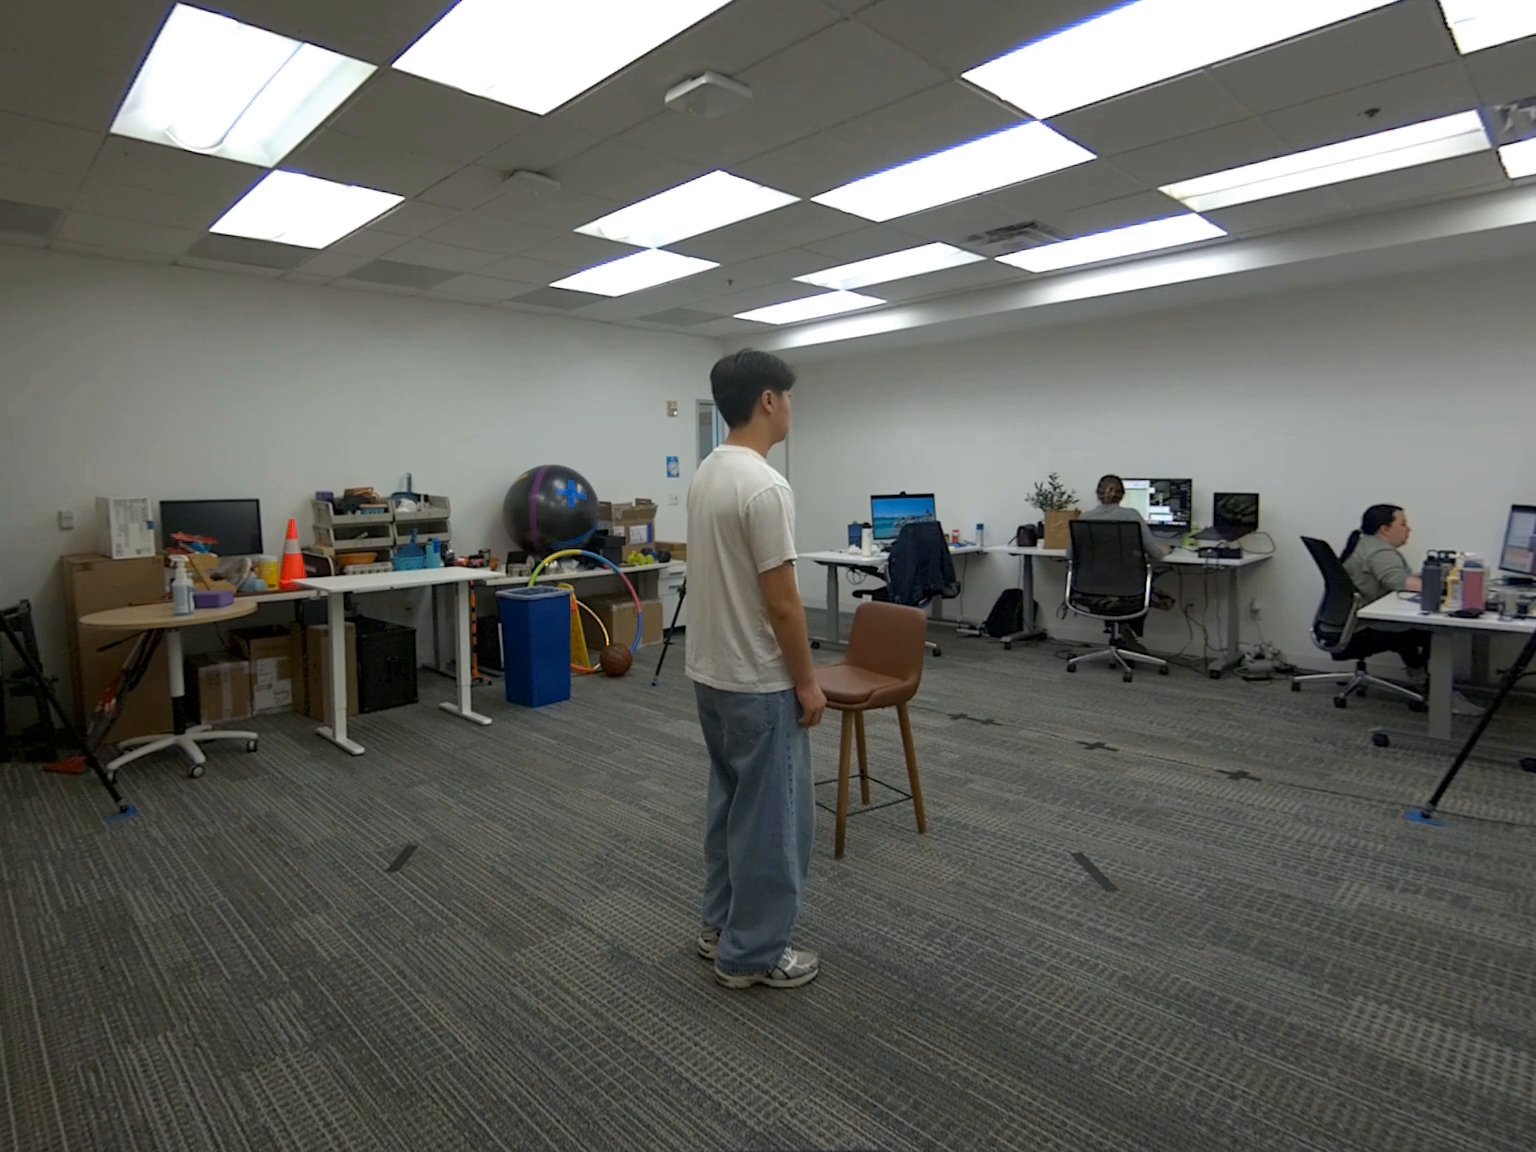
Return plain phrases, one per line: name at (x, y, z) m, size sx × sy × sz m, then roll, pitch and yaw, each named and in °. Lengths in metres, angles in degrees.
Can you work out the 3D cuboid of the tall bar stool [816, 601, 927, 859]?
tall bar stool at (0.338, 0.569, 3.387) m, size 0.456 × 0.887 × 0.469 m, roll -1°, pitch 4°, yaw -32°
